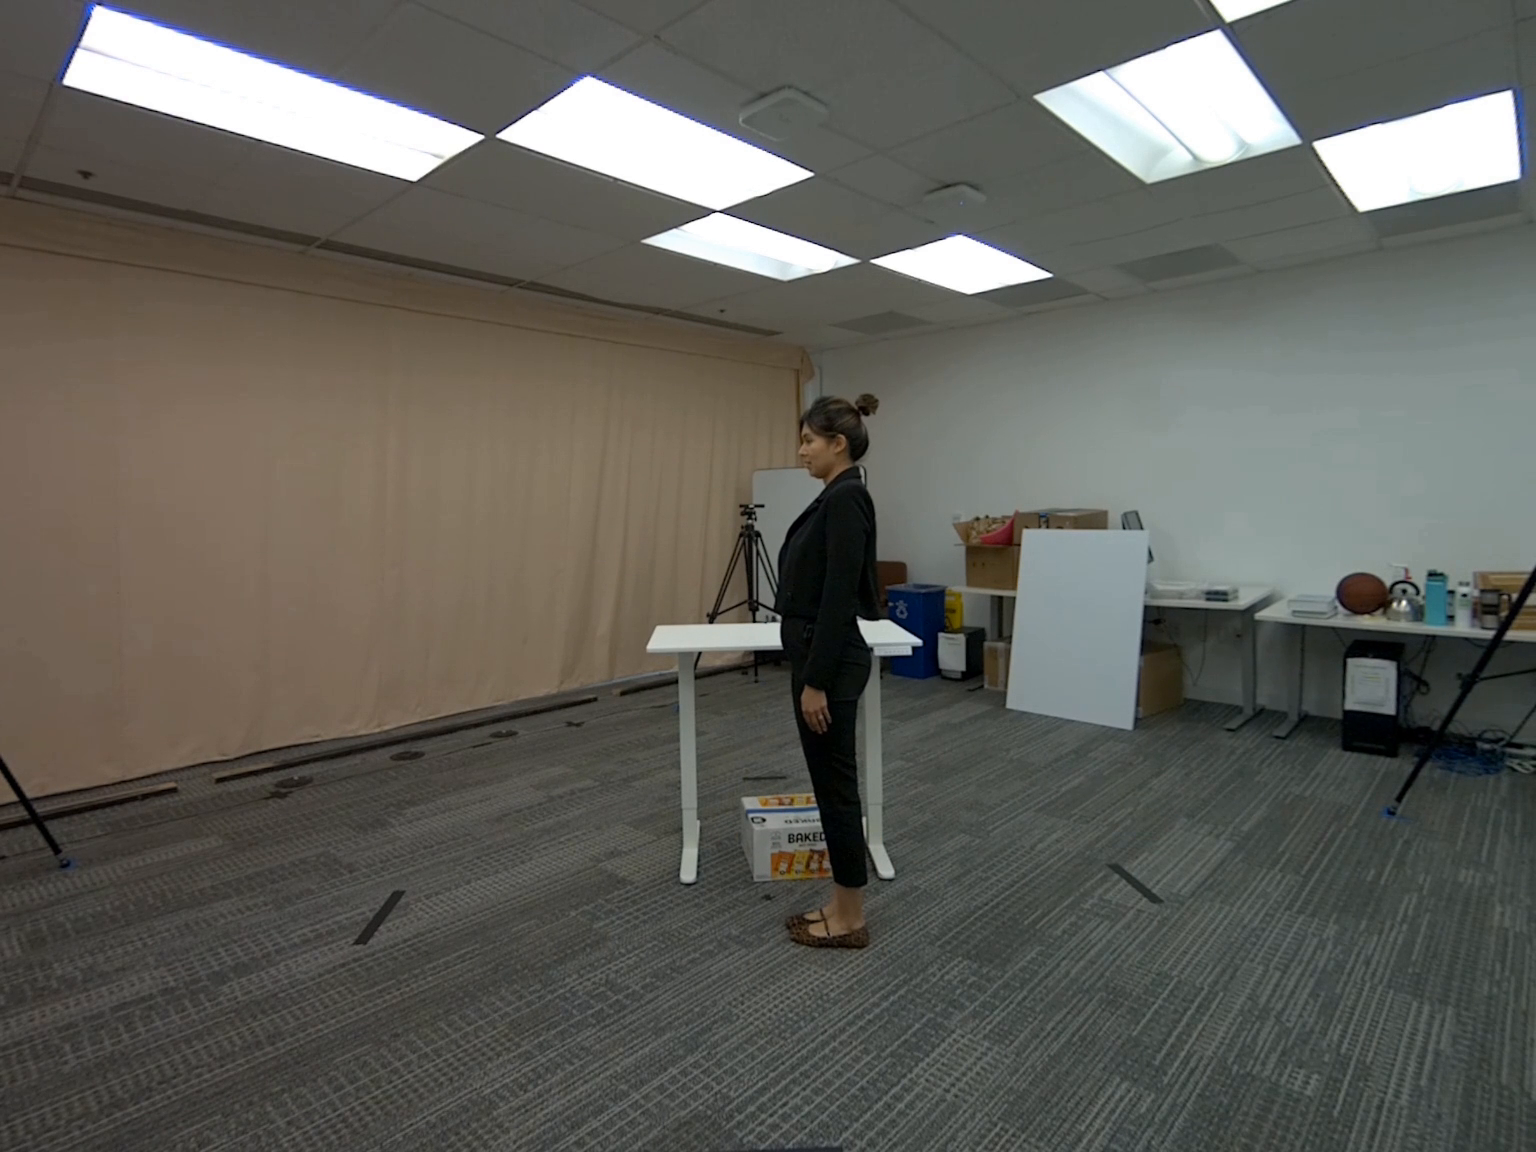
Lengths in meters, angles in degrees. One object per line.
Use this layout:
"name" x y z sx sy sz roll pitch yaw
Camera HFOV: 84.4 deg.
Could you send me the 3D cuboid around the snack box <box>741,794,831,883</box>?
"snack box" 0.119 1.012 3.277 0.401 0.205 0.344 -1 4 -9
